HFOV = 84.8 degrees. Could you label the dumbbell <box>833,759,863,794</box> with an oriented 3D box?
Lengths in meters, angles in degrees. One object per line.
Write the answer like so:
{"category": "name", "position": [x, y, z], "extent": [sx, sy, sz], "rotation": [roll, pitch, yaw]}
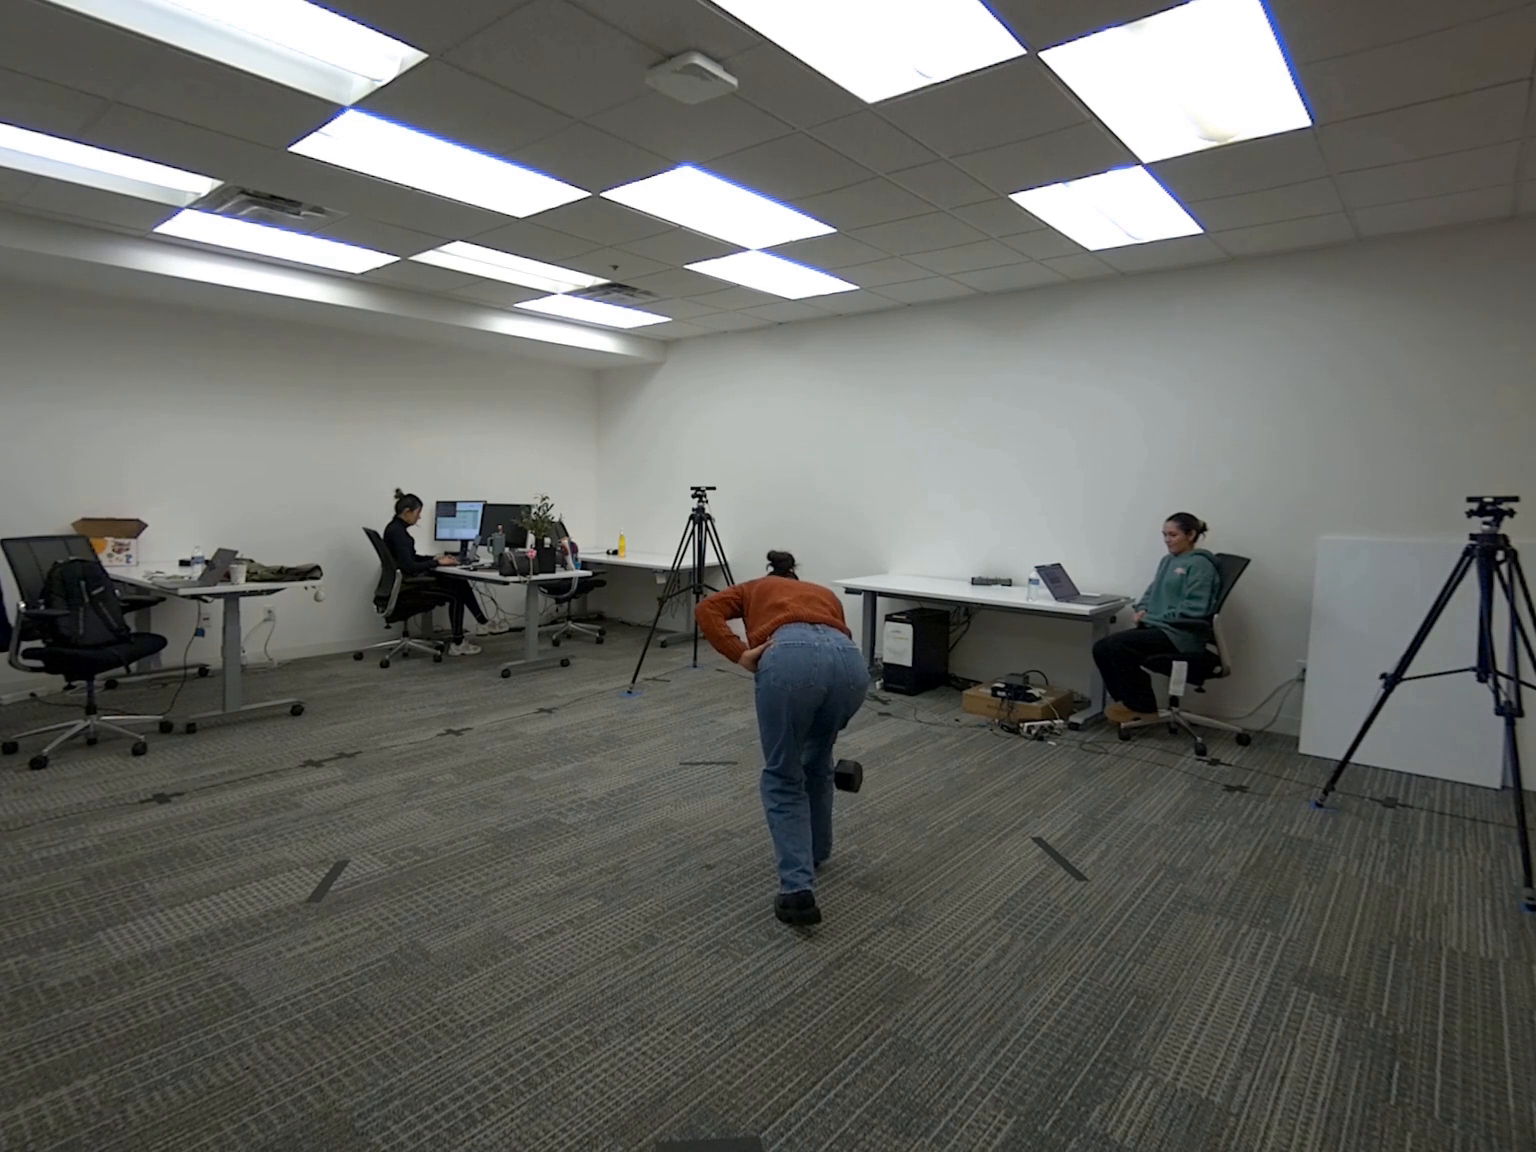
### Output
{"category": "dumbbell", "position": [0.197, 0.737, 3.204], "extent": [0.302, 0.122, 0.106], "rotation": [2, 9, 30]}
